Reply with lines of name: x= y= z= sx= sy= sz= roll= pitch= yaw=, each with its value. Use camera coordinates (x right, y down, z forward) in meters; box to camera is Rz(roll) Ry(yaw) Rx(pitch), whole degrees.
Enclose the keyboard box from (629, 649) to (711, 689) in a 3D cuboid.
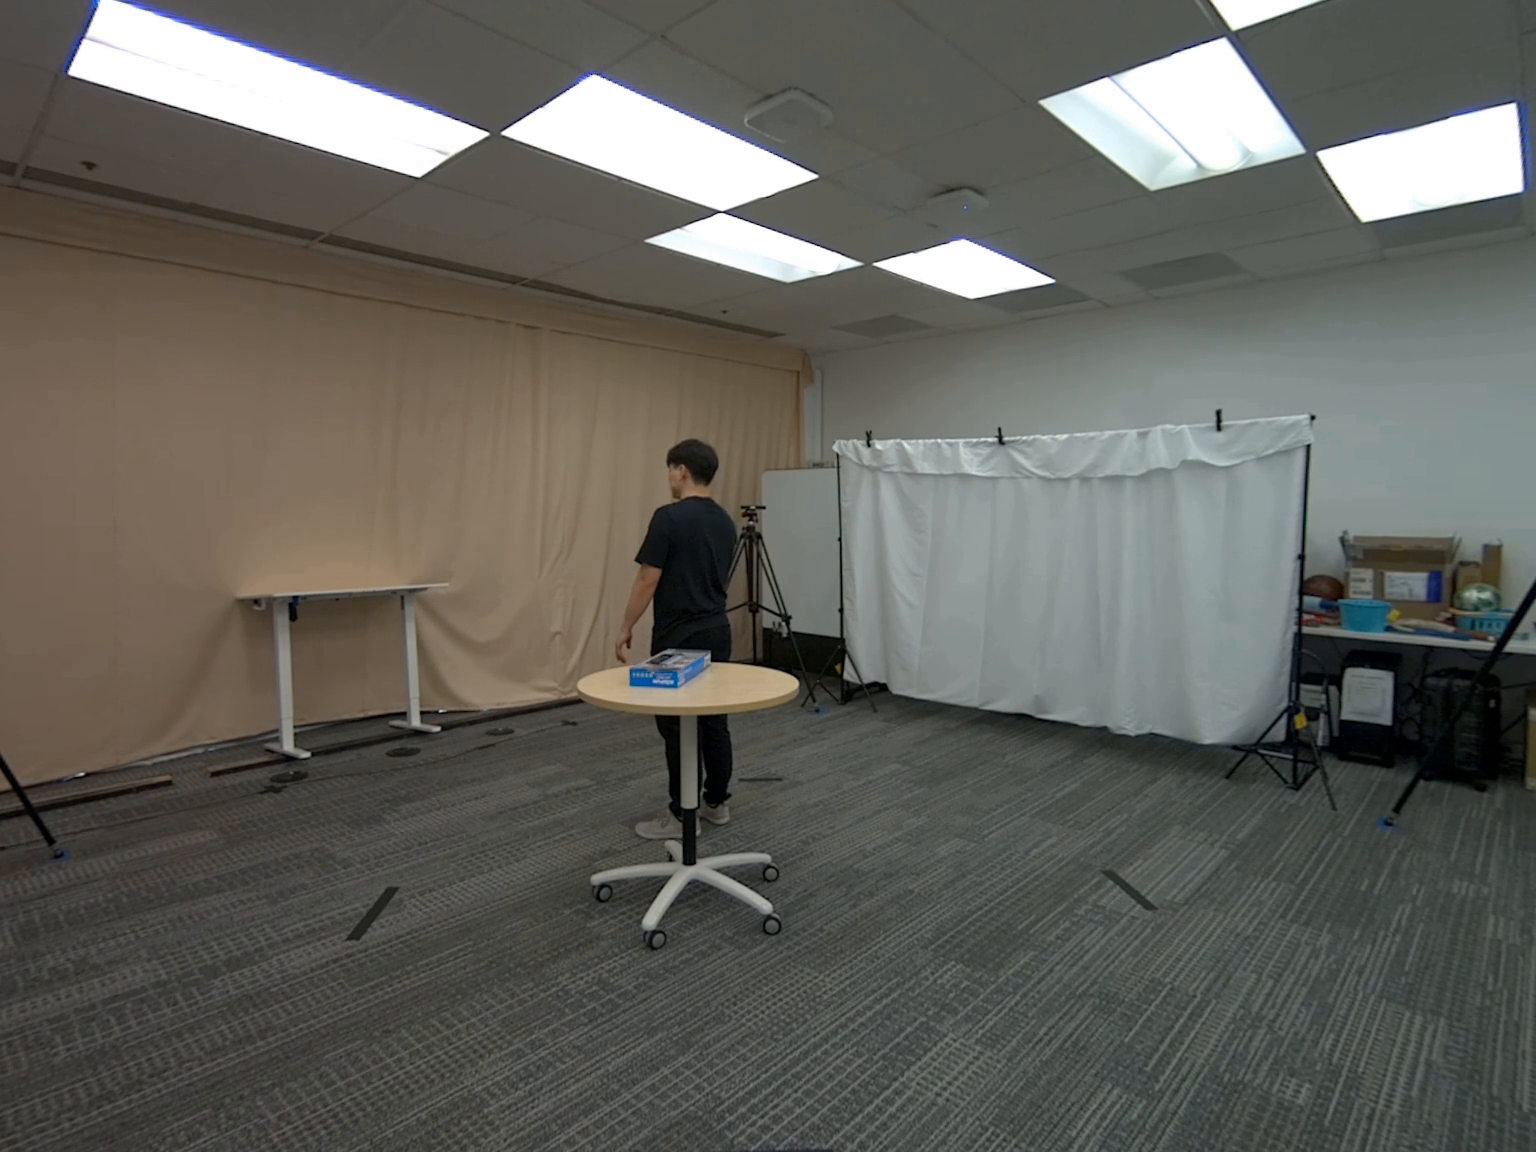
keyboard box: x=-0.341 y=0.327 z=3.038 sx=0.178 sy=0.059 sz=0.431 roll=0 pitch=4 yaw=12
